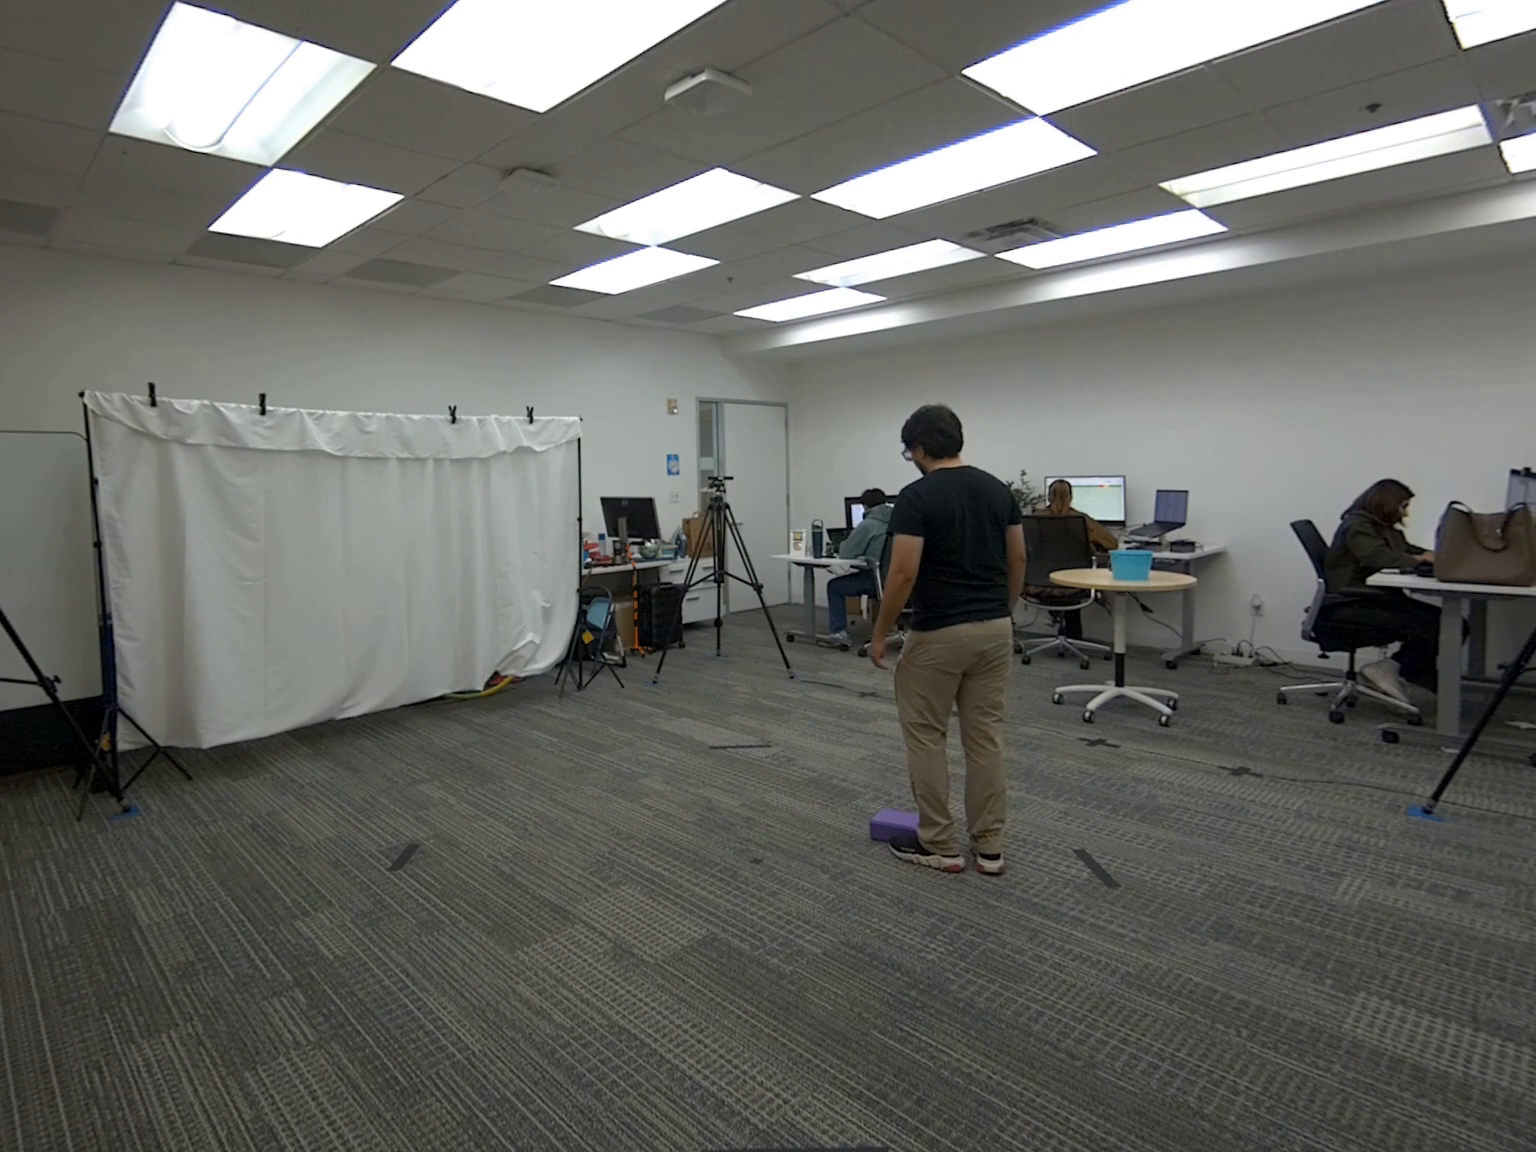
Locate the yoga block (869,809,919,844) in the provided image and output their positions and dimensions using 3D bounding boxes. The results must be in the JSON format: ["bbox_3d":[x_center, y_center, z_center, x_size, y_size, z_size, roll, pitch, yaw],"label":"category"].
[{"bbox_3d":[0.527,0.968,3.271,0.235,0.076,0.146,1,6,29],"label":"yoga block"}]
